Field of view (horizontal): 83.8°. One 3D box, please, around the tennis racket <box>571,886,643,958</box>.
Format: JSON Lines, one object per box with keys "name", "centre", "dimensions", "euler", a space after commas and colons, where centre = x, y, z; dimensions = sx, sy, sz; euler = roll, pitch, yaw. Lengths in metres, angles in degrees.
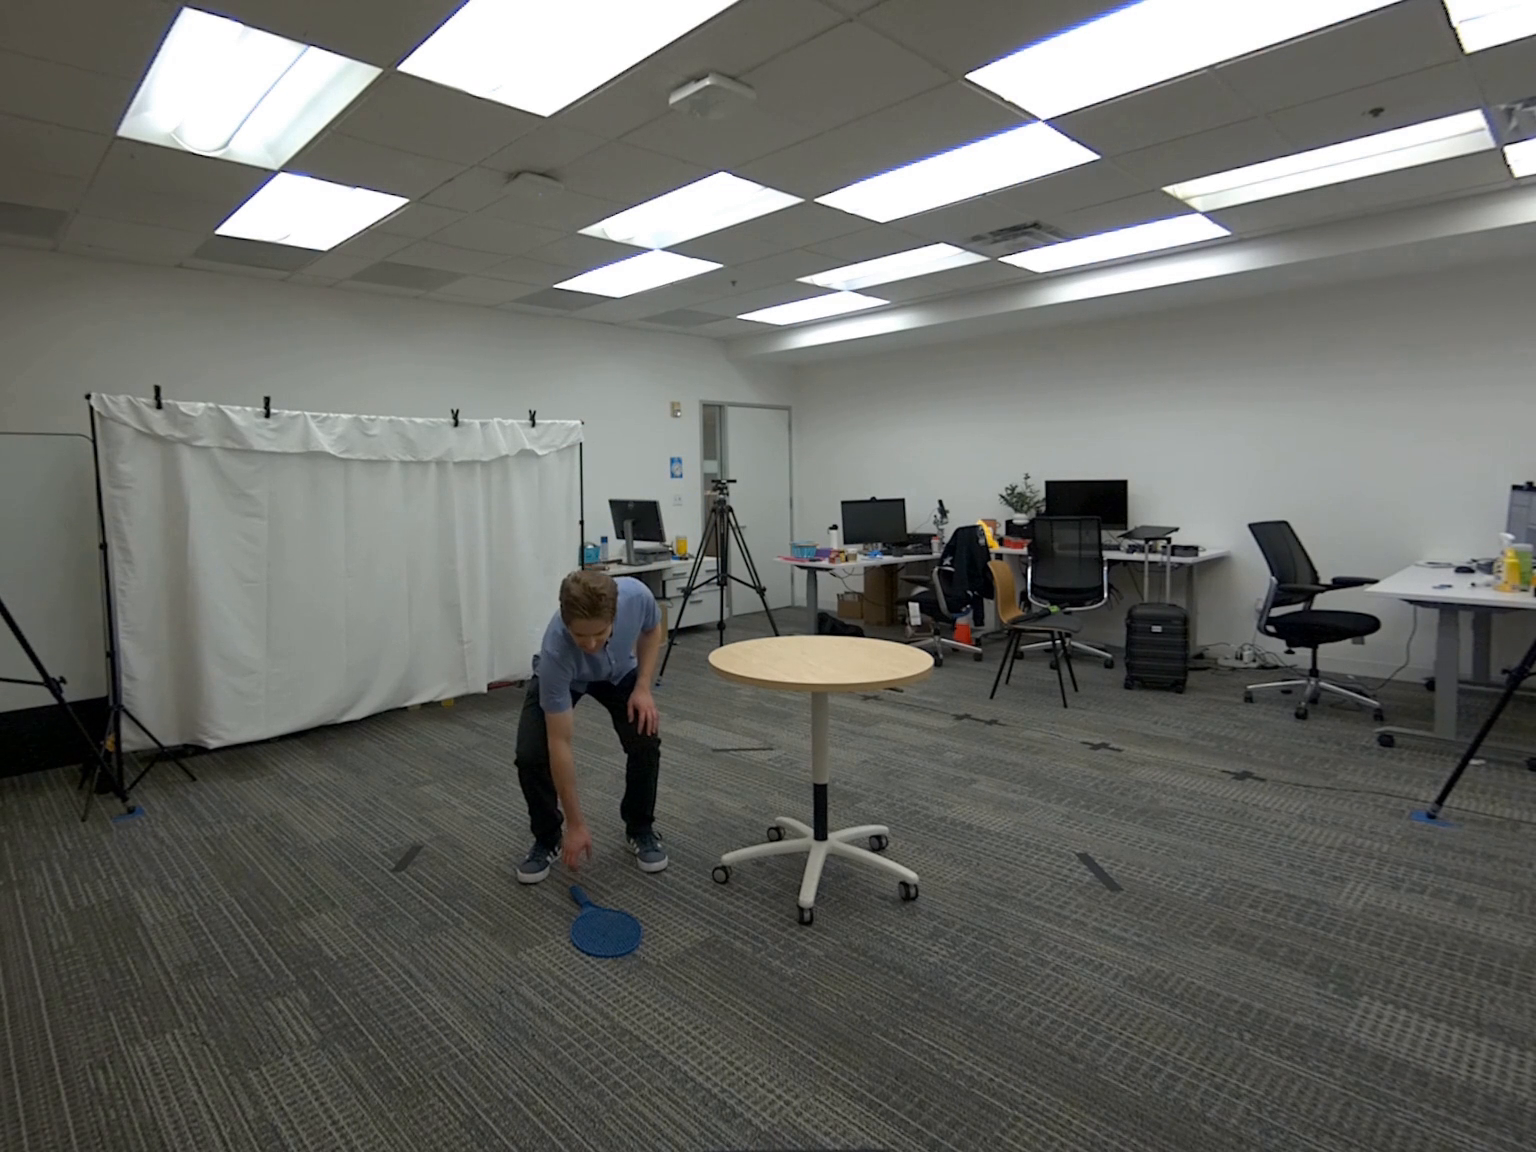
{"name": "tennis racket", "centre": [-0.540, 1.091, 2.712], "dimensions": [0.209, 0.031, 0.446], "euler": [-6, 9, -32]}
